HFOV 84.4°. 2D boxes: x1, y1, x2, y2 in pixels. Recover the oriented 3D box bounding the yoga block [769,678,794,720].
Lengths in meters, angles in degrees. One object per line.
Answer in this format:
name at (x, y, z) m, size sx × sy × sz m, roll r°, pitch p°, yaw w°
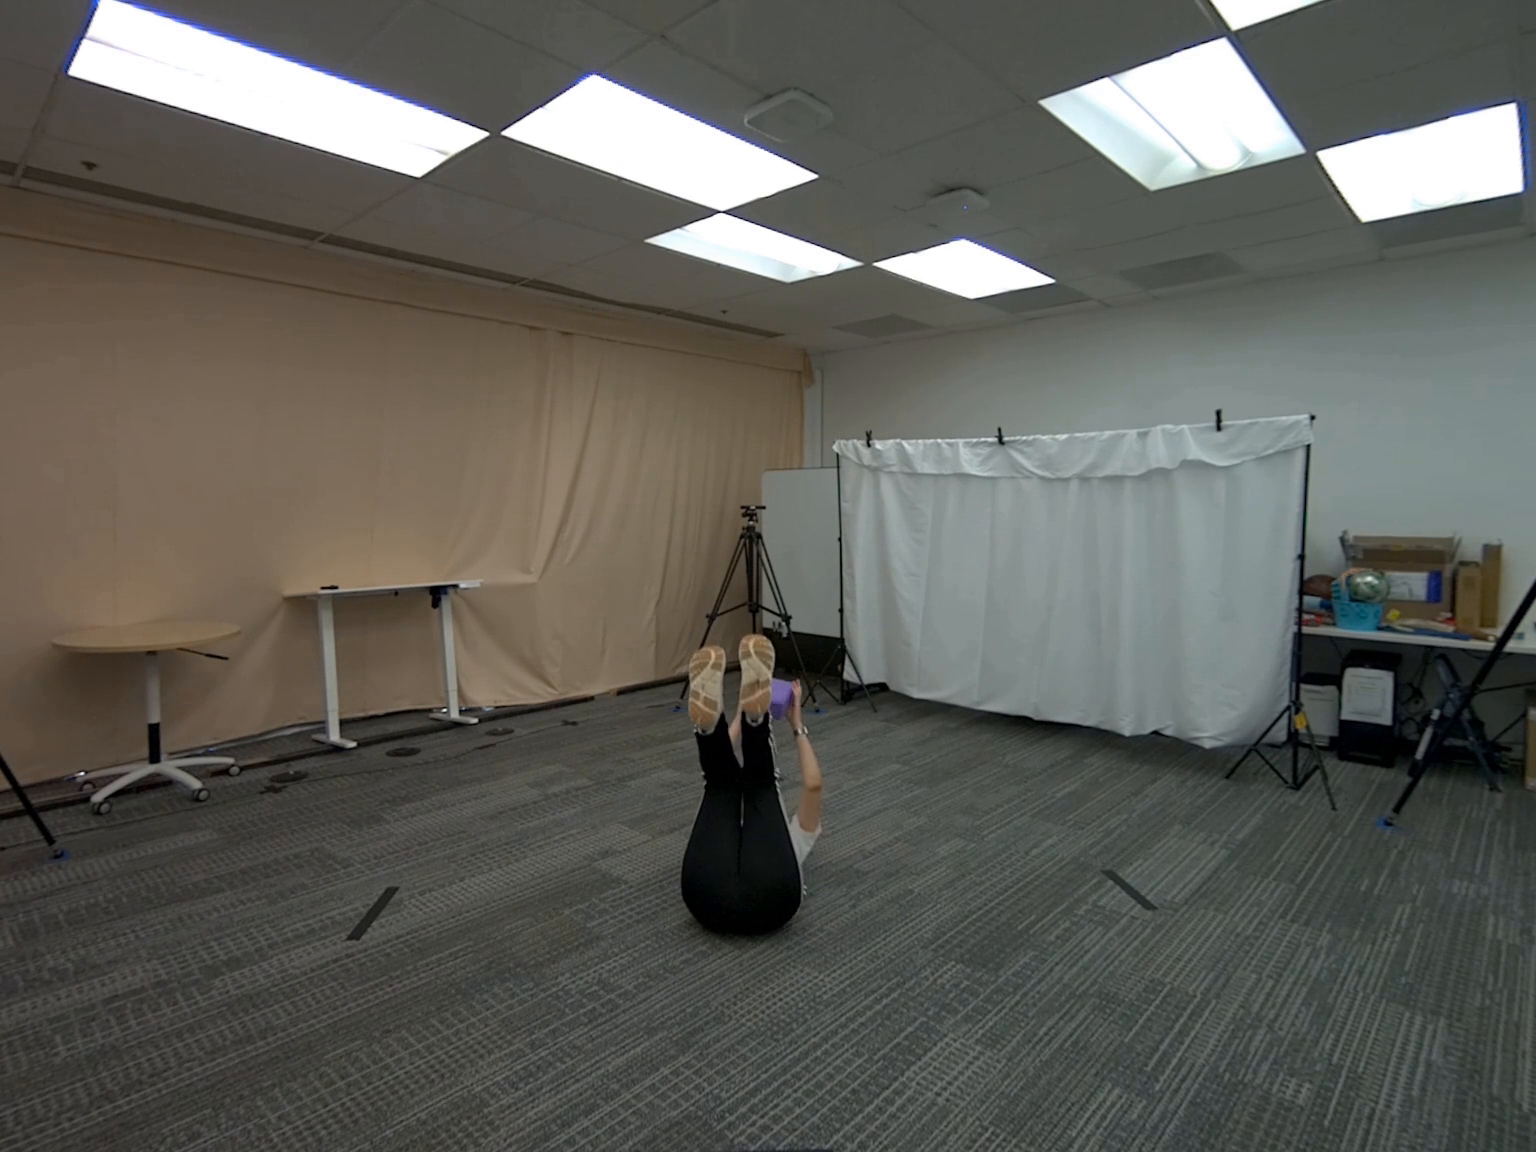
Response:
yoga block at (0.016, 0.470, 3.243) m, size 0.152 × 0.076 × 0.227 m, roll 10°, pitch 14°, yaw 15°
